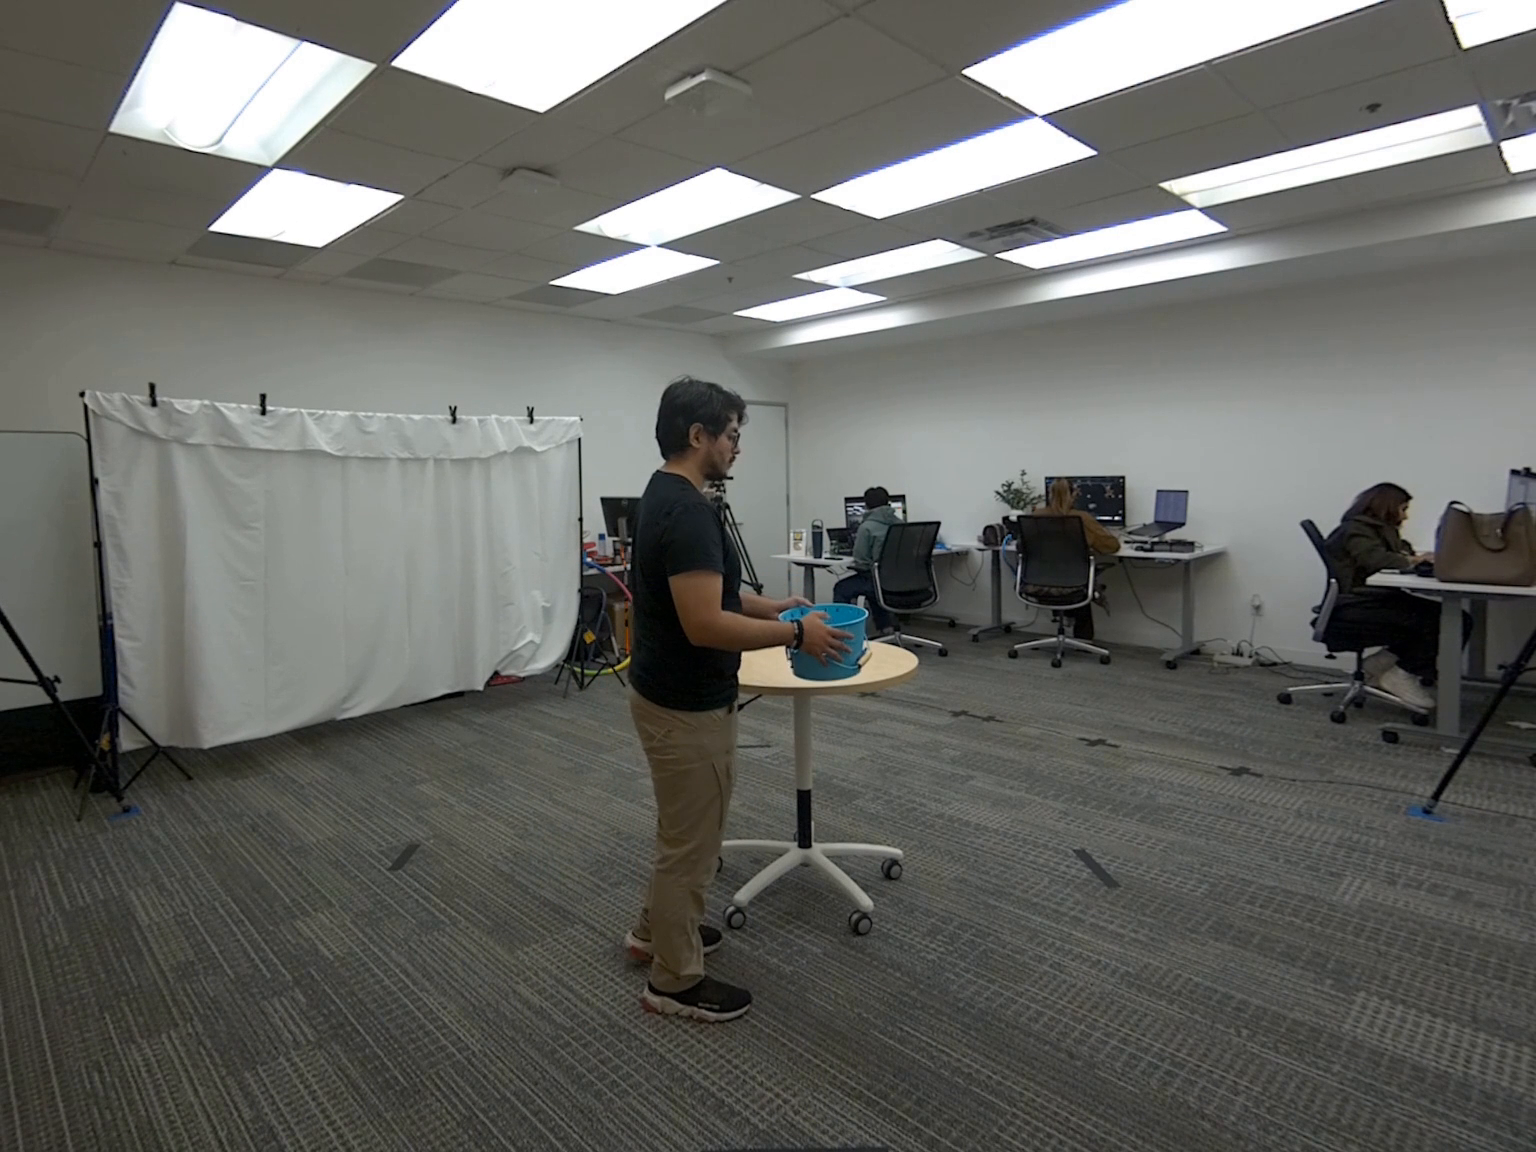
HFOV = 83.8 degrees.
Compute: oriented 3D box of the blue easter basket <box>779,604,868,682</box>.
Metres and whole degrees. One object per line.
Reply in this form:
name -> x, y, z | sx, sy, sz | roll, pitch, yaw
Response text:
blue easter basket -> 0.159, 0.179, 2.229 | 0.243, 0.154, 0.246 | -5, 10, -1
